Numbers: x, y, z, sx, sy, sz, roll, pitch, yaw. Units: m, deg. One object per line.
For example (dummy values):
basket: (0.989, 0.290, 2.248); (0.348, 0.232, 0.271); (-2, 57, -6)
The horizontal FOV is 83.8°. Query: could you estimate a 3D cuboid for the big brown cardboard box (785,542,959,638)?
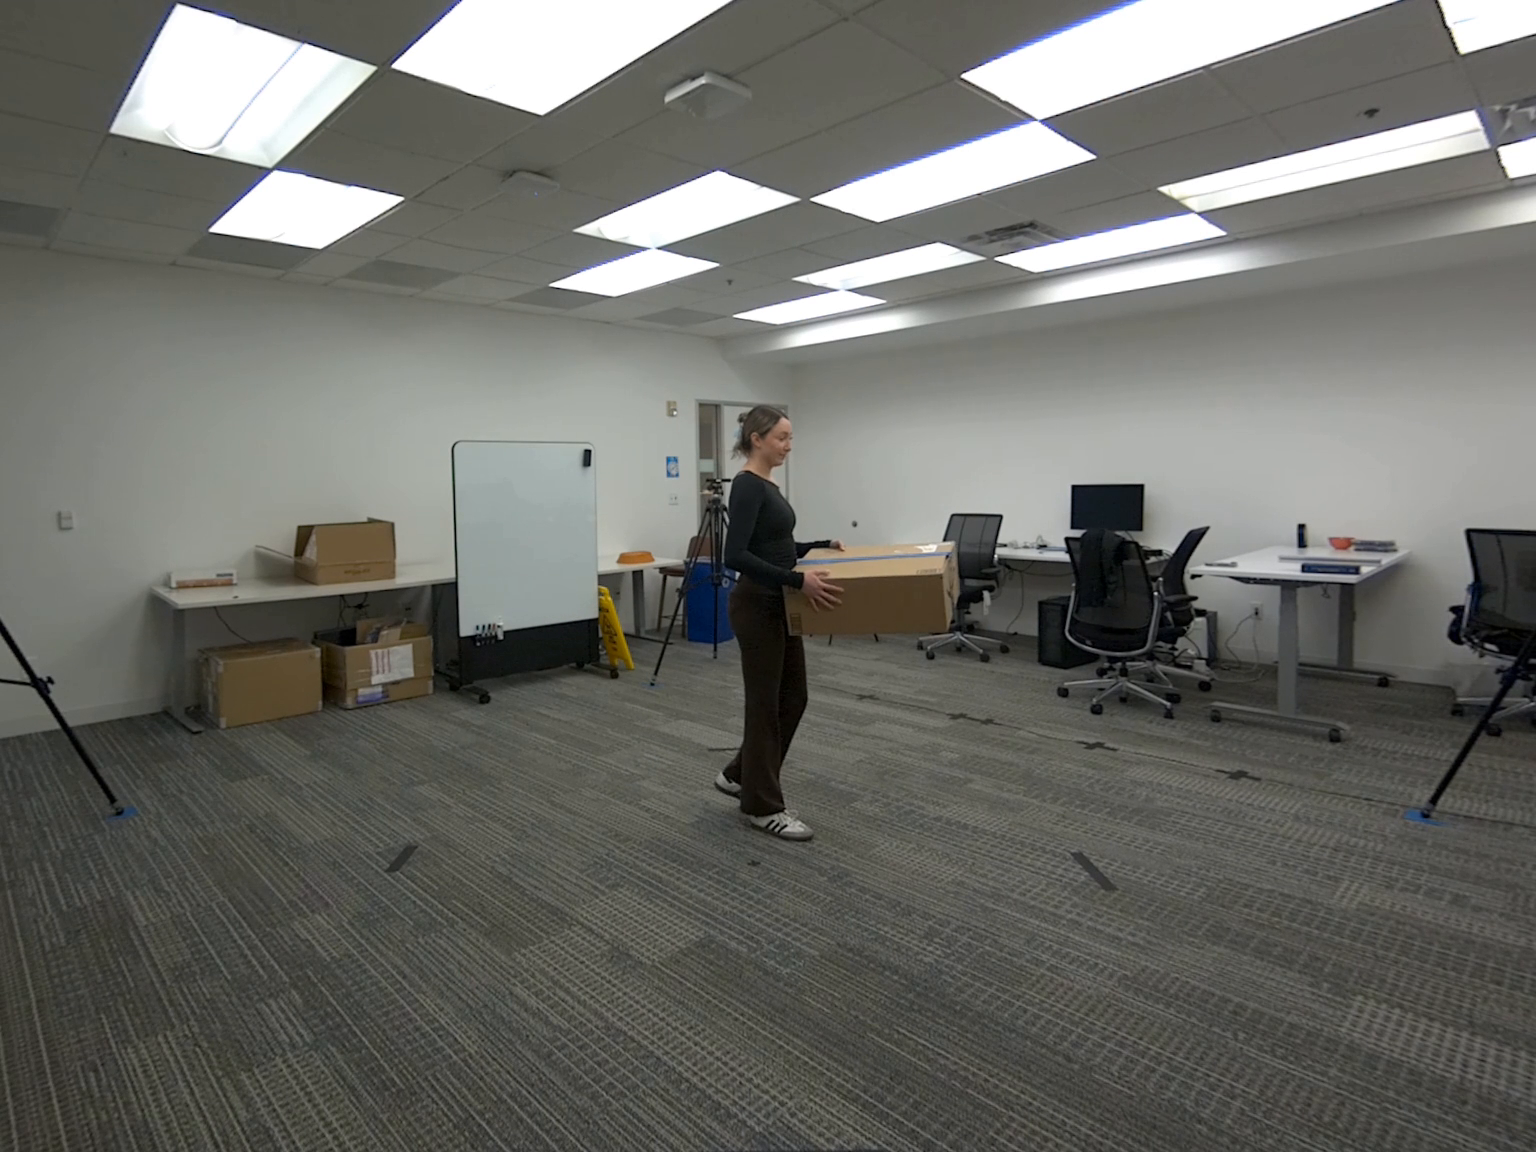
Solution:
big brown cardboard box: (0.396, 0.040, 3.172); (0.600, 0.230, 0.415); (-3, 15, 21)
